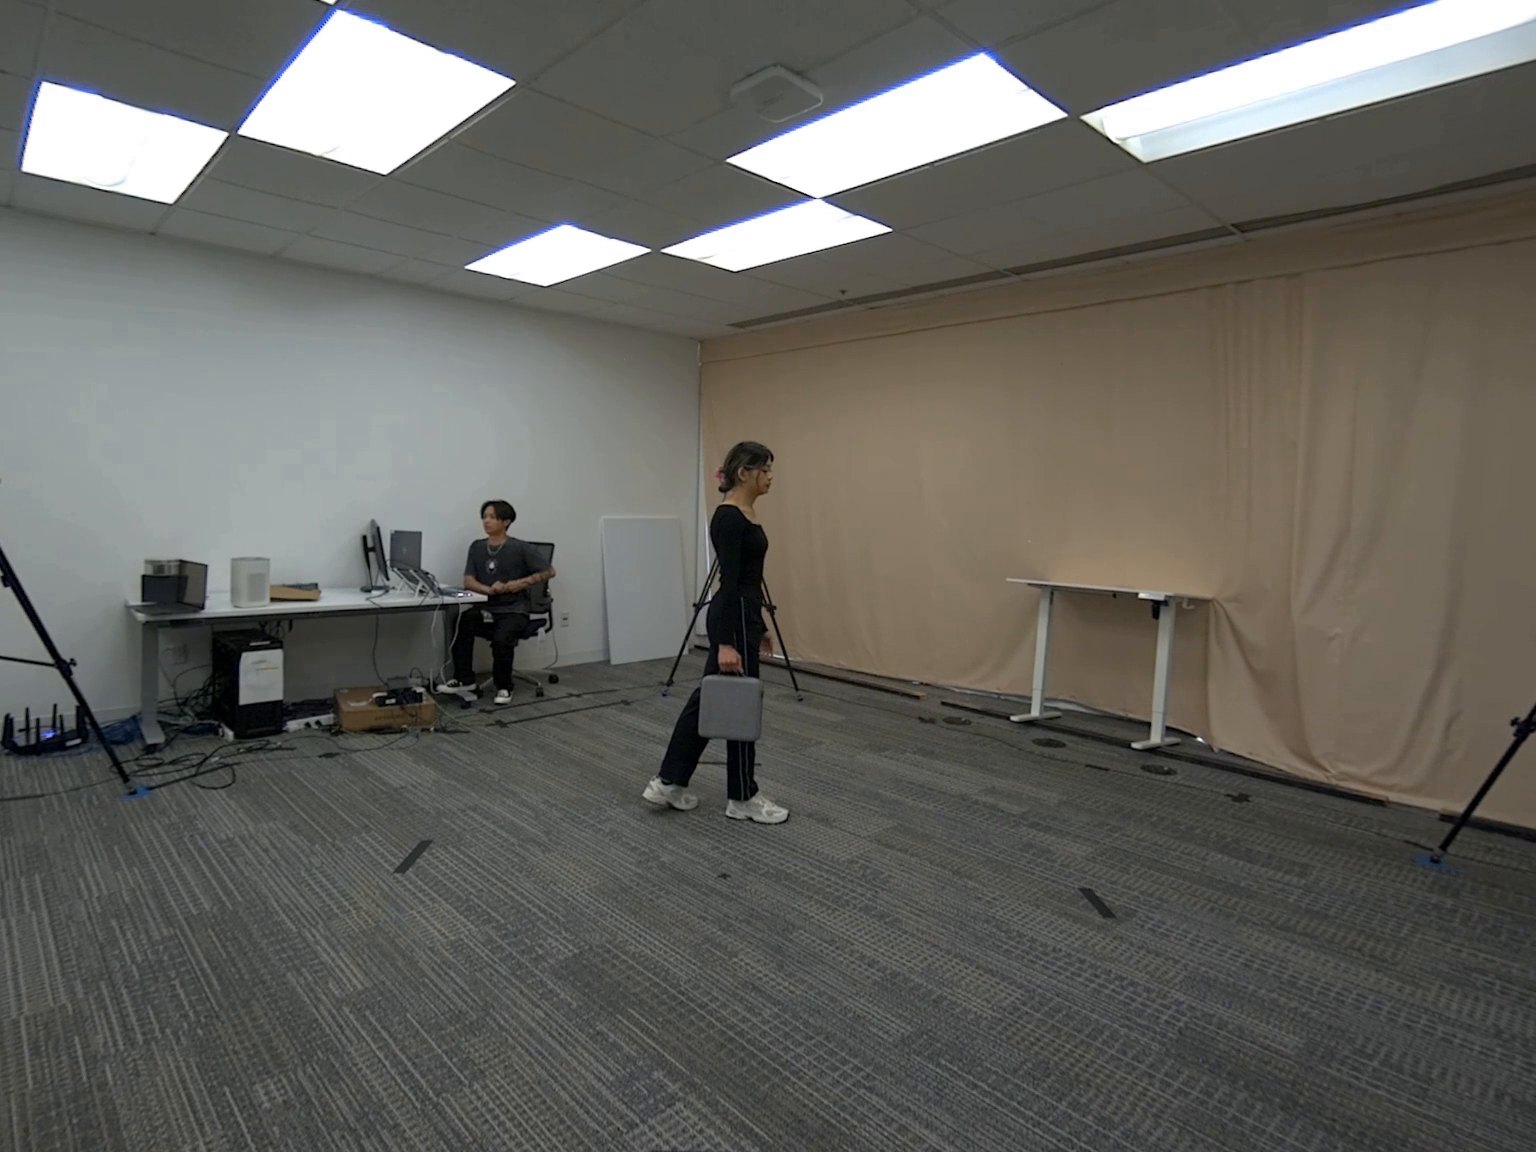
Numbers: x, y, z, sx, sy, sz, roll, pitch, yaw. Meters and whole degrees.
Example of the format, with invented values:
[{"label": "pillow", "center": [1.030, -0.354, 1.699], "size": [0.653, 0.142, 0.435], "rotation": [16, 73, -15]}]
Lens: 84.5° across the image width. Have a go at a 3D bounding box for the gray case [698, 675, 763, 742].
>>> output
[{"label": "gray case", "center": [-0.167, 0.537, 3.465], "size": [0.258, 0.261, 0.103], "rotation": [2, -3, 8]}]
